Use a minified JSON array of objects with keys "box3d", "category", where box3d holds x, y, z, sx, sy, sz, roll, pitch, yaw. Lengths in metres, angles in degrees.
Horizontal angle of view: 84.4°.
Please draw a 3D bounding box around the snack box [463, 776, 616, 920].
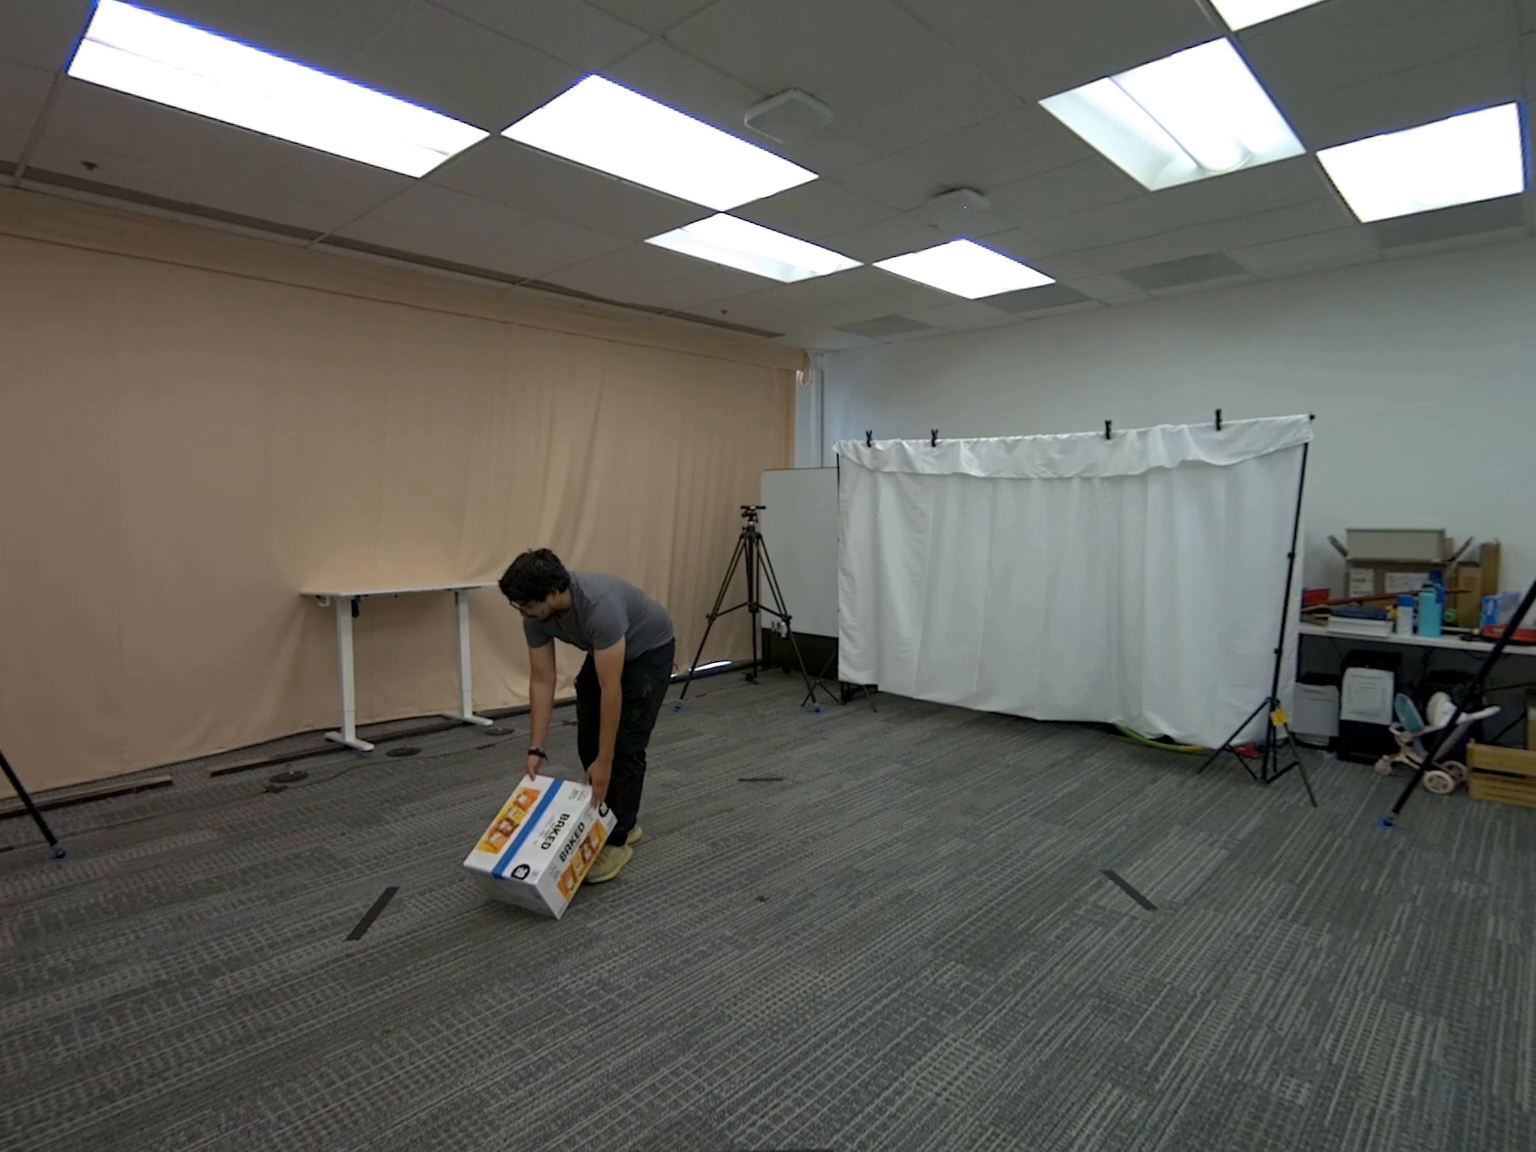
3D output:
[{"box3d":[-0.803,0.949,3.010,0.350,0.200,0.404,0,39,29],"category":"snack box"}]
